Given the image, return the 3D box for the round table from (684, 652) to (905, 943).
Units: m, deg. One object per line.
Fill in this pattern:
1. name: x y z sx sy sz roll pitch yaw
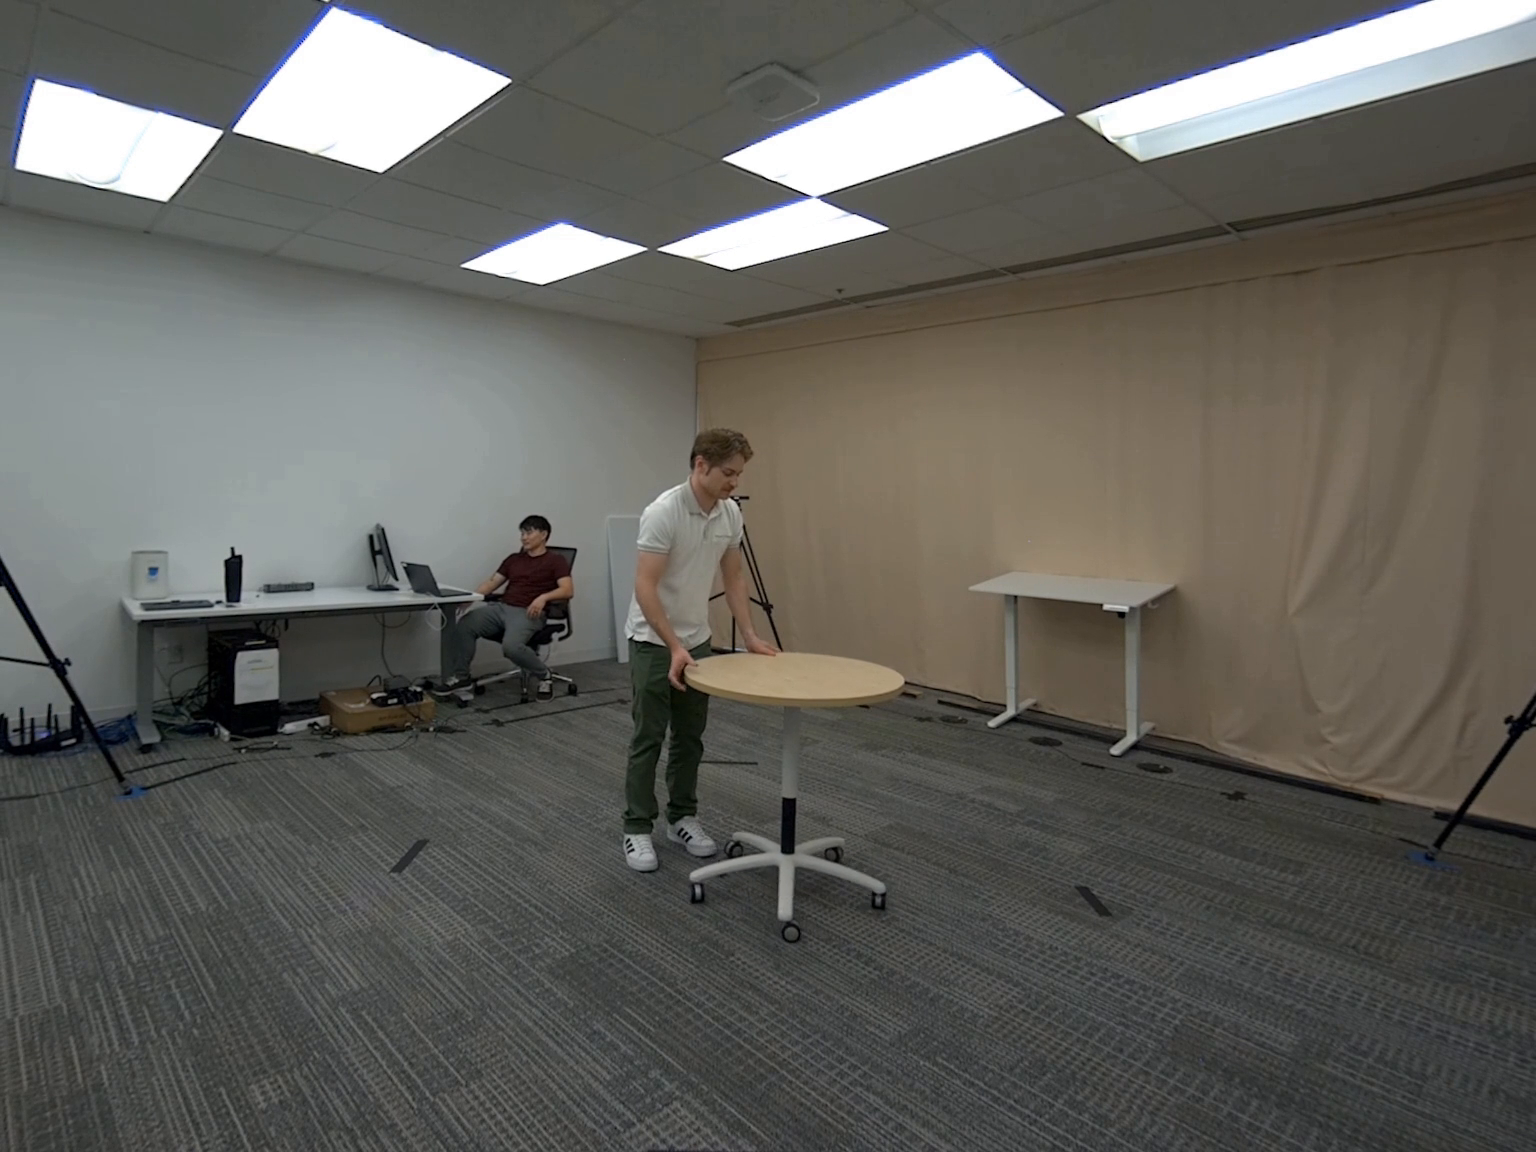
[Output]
1. round table: 0.069 0.732 2.961 0.763 0.792 0.766 2 4 -1
